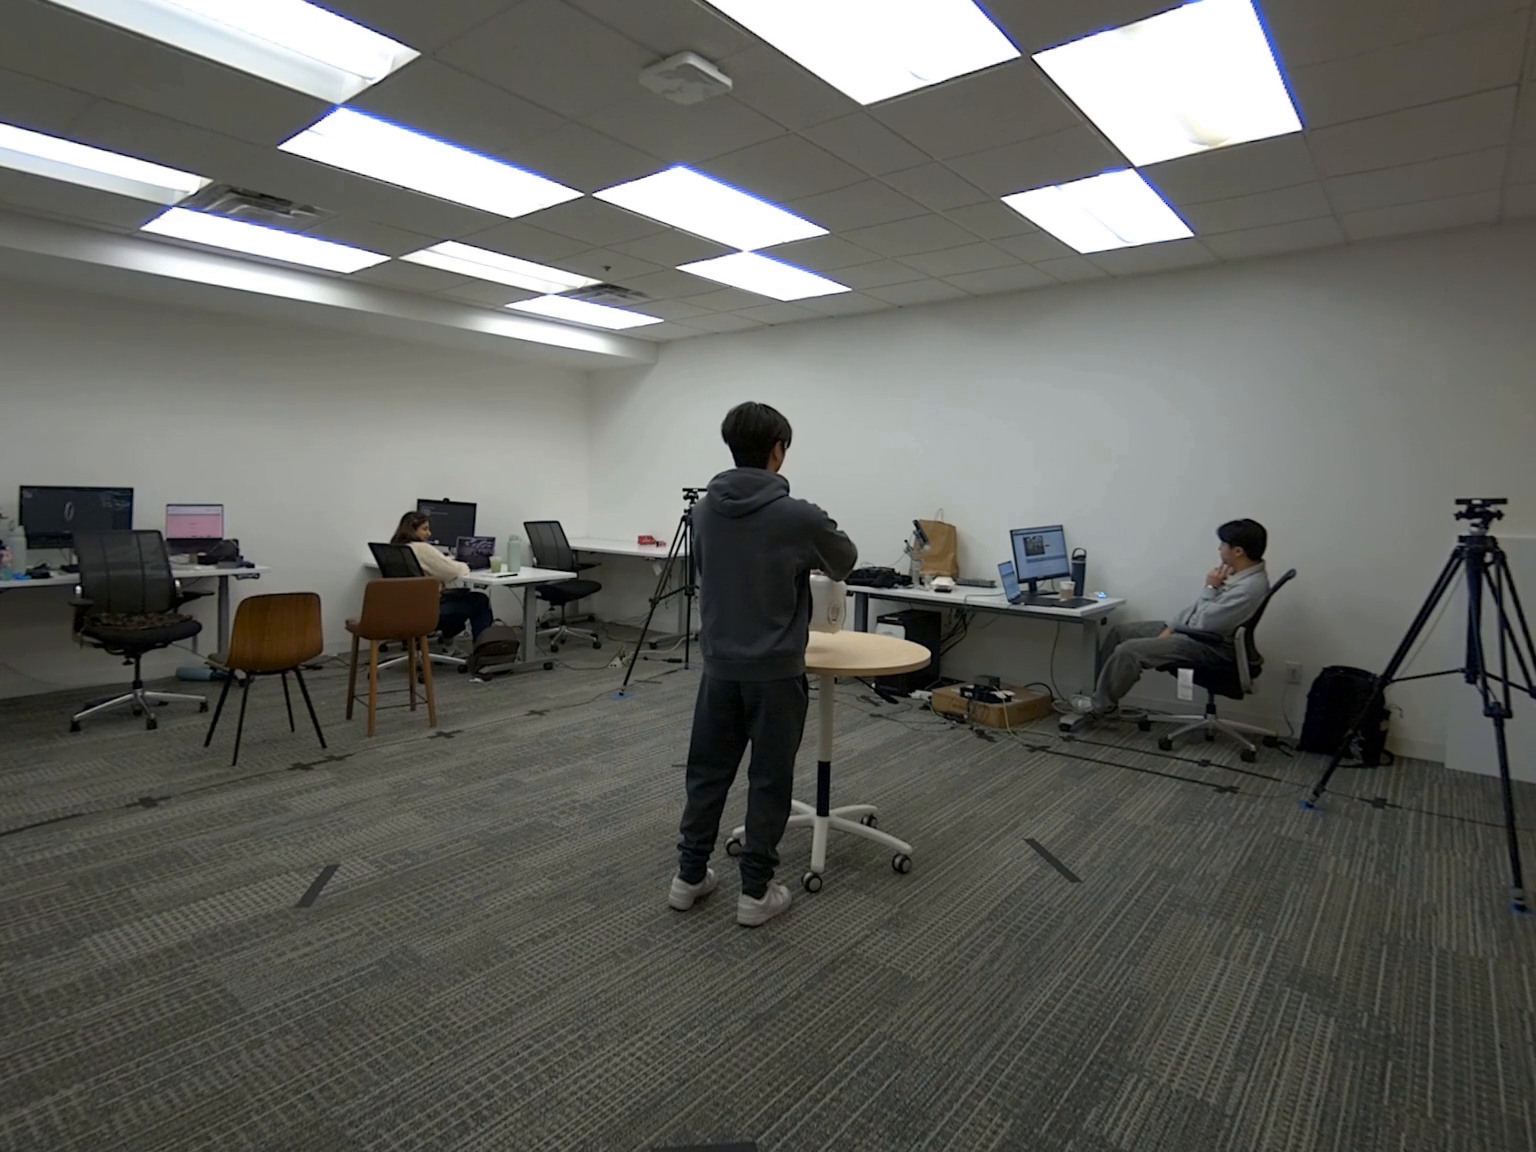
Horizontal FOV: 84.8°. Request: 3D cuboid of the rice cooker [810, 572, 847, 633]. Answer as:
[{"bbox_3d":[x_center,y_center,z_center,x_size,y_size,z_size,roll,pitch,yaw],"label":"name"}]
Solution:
[{"bbox_3d":[0.180,0.091,3.203,0.213,0.234,0.224,9,-4,-35],"label":"rice cooker"}]
